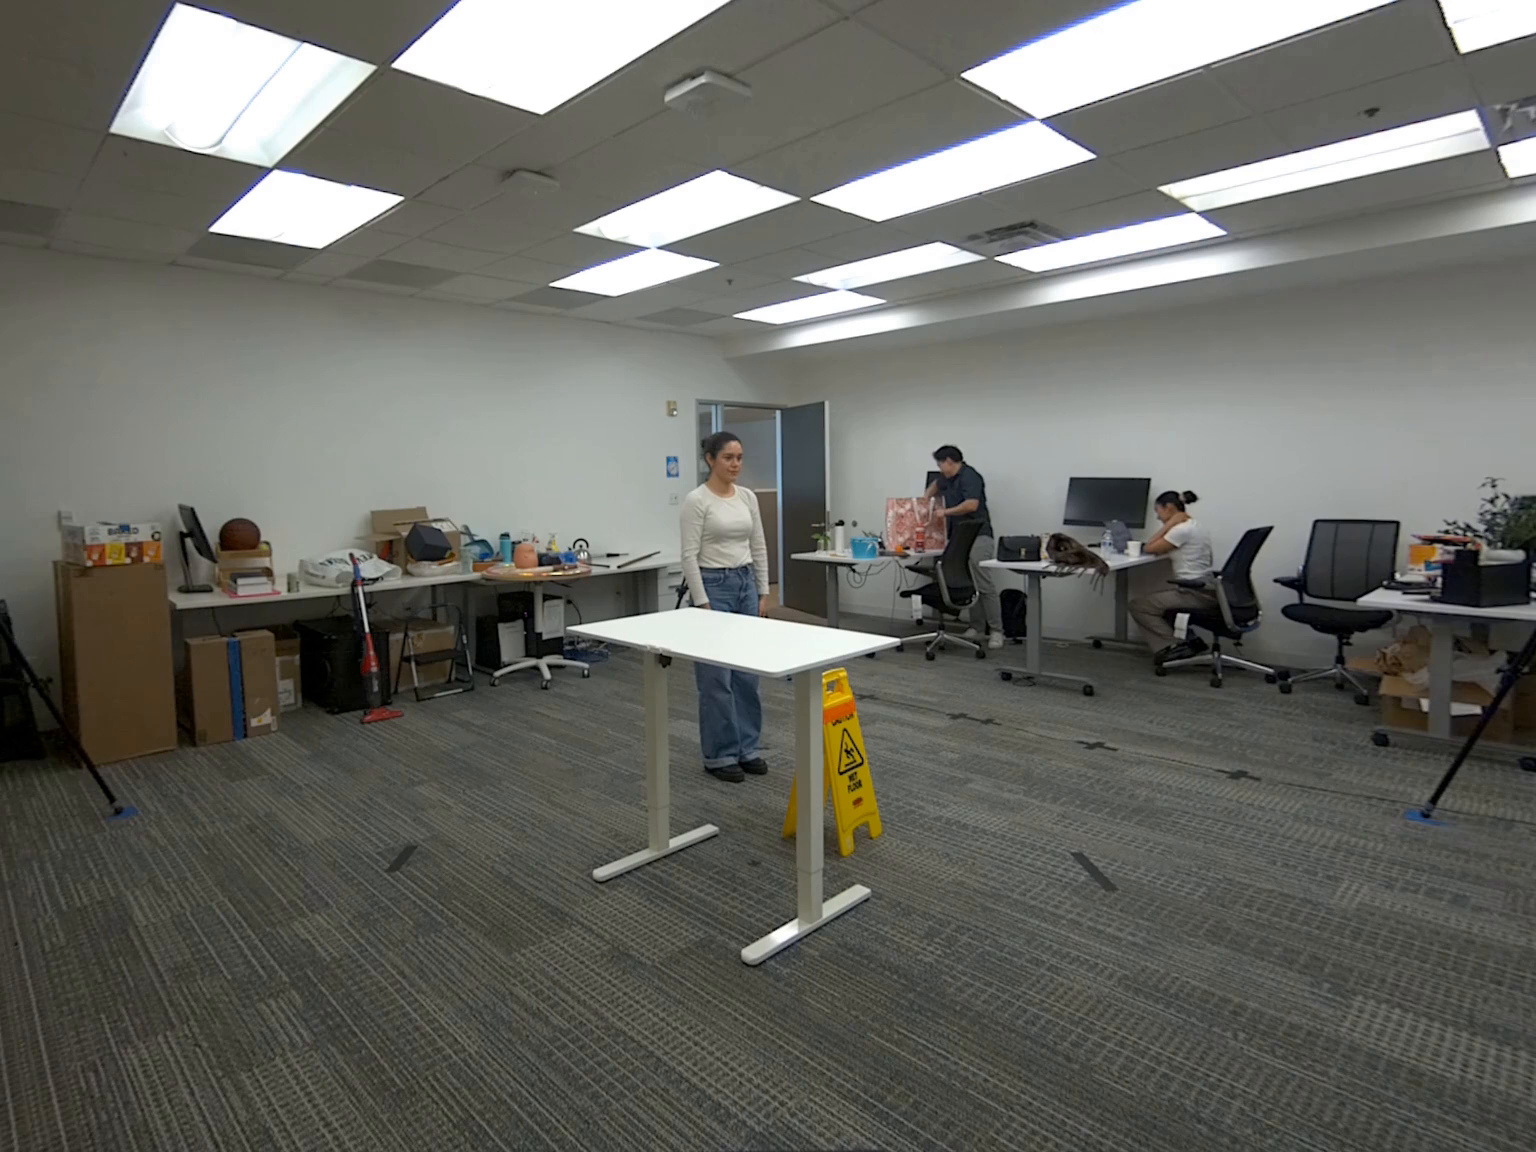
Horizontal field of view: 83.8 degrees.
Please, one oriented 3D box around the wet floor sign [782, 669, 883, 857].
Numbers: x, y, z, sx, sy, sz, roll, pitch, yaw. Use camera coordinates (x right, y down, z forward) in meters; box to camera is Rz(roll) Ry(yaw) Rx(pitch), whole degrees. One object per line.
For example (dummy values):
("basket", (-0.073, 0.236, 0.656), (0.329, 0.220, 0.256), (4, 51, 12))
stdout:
("wet floor sign", (0.246, 0.693, 3.321), (0.298, 0.644, 0.275), (2, 4, 39))
